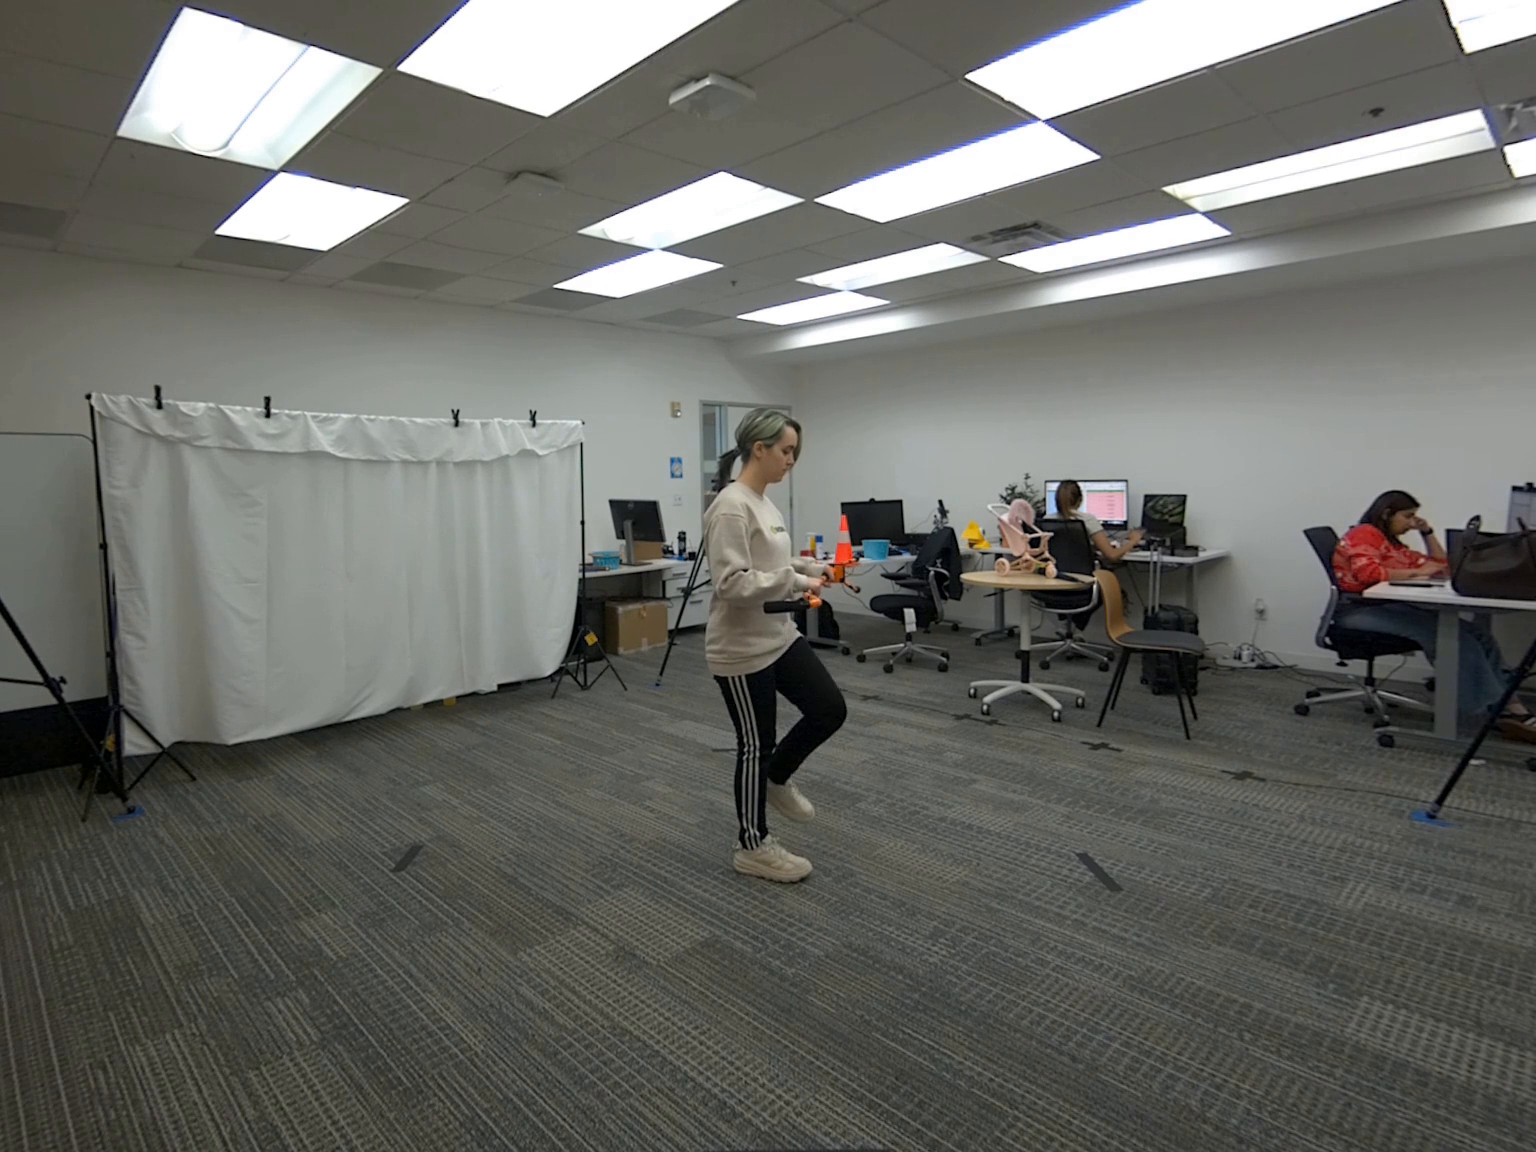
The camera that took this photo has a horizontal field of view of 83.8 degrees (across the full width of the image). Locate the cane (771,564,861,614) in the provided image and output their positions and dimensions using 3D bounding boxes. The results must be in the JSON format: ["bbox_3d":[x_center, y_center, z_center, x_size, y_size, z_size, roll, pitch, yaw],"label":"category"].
[{"bbox_3d":[0.207,0.050,2.912,0.208,0.151,0.903,-8,5,9],"label":"cane"}]
